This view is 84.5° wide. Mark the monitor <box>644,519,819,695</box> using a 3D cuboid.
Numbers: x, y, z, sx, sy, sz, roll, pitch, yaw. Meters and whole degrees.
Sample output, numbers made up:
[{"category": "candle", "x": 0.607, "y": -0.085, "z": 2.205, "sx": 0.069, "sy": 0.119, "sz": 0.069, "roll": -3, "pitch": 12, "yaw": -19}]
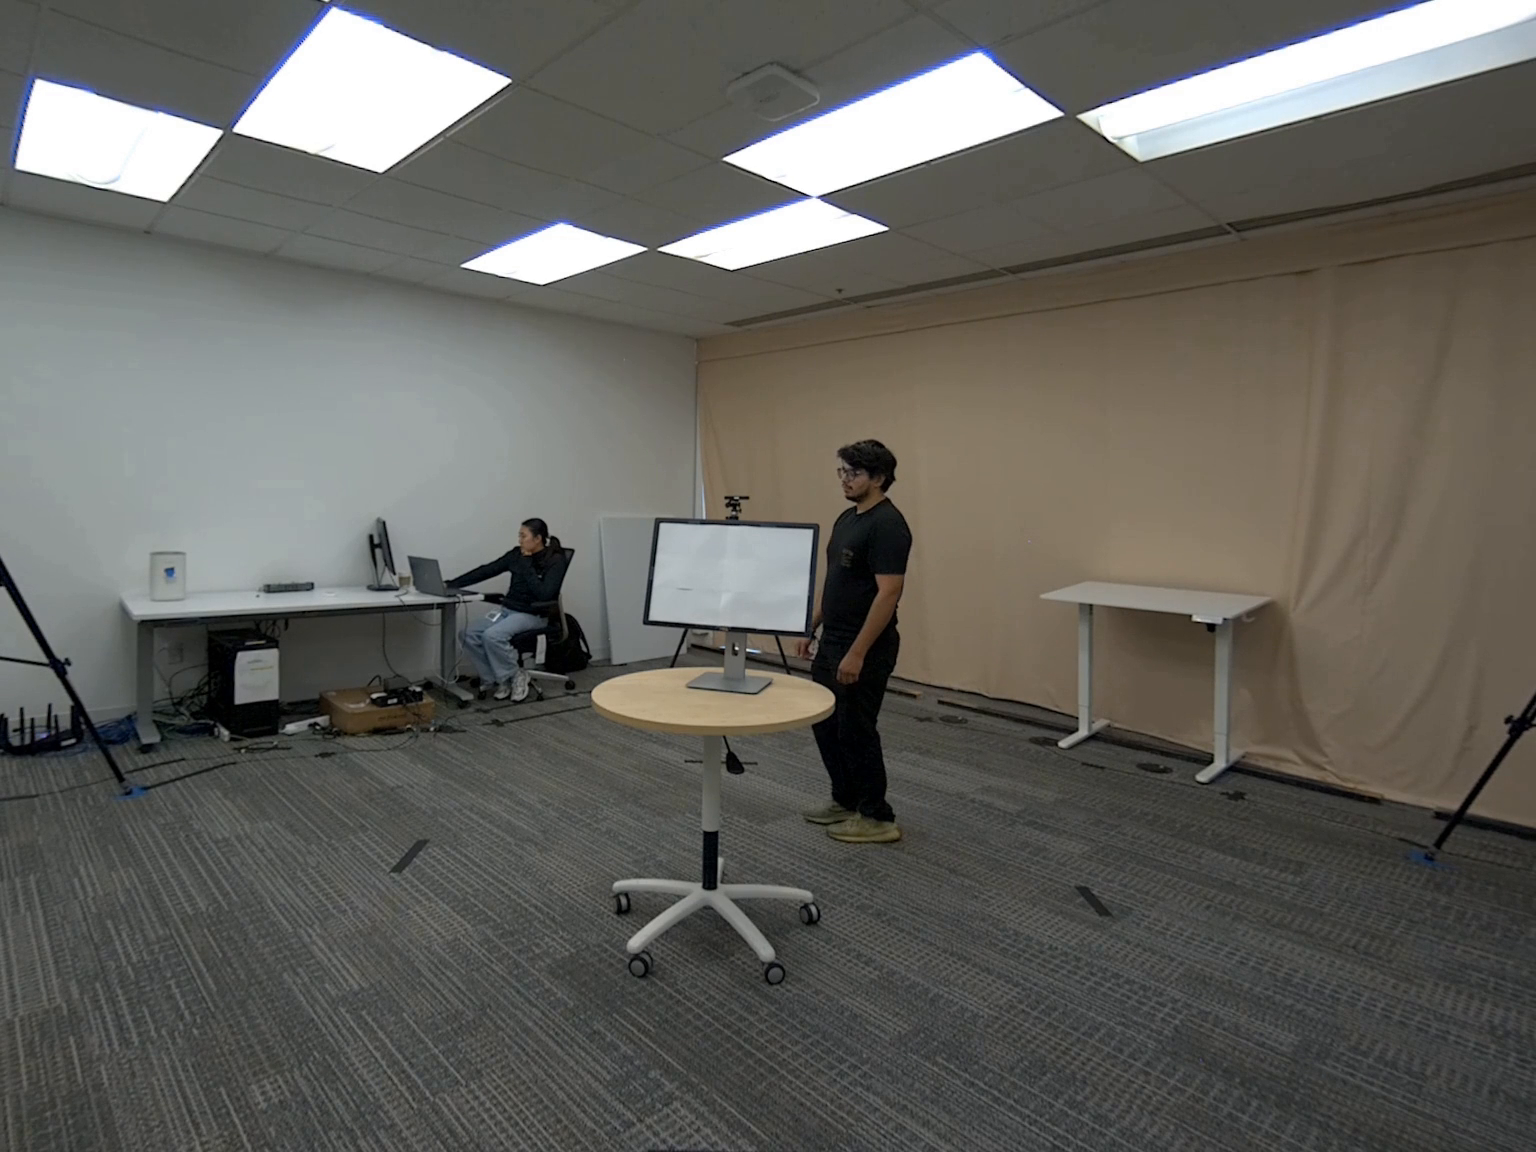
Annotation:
[{"category": "monitor", "x": -0.111, "y": 0.095, "z": 2.783, "sx": 0.573, "sy": 0.555, "sz": 0.207, "roll": 2, "pitch": -3, "yaw": 16}]
